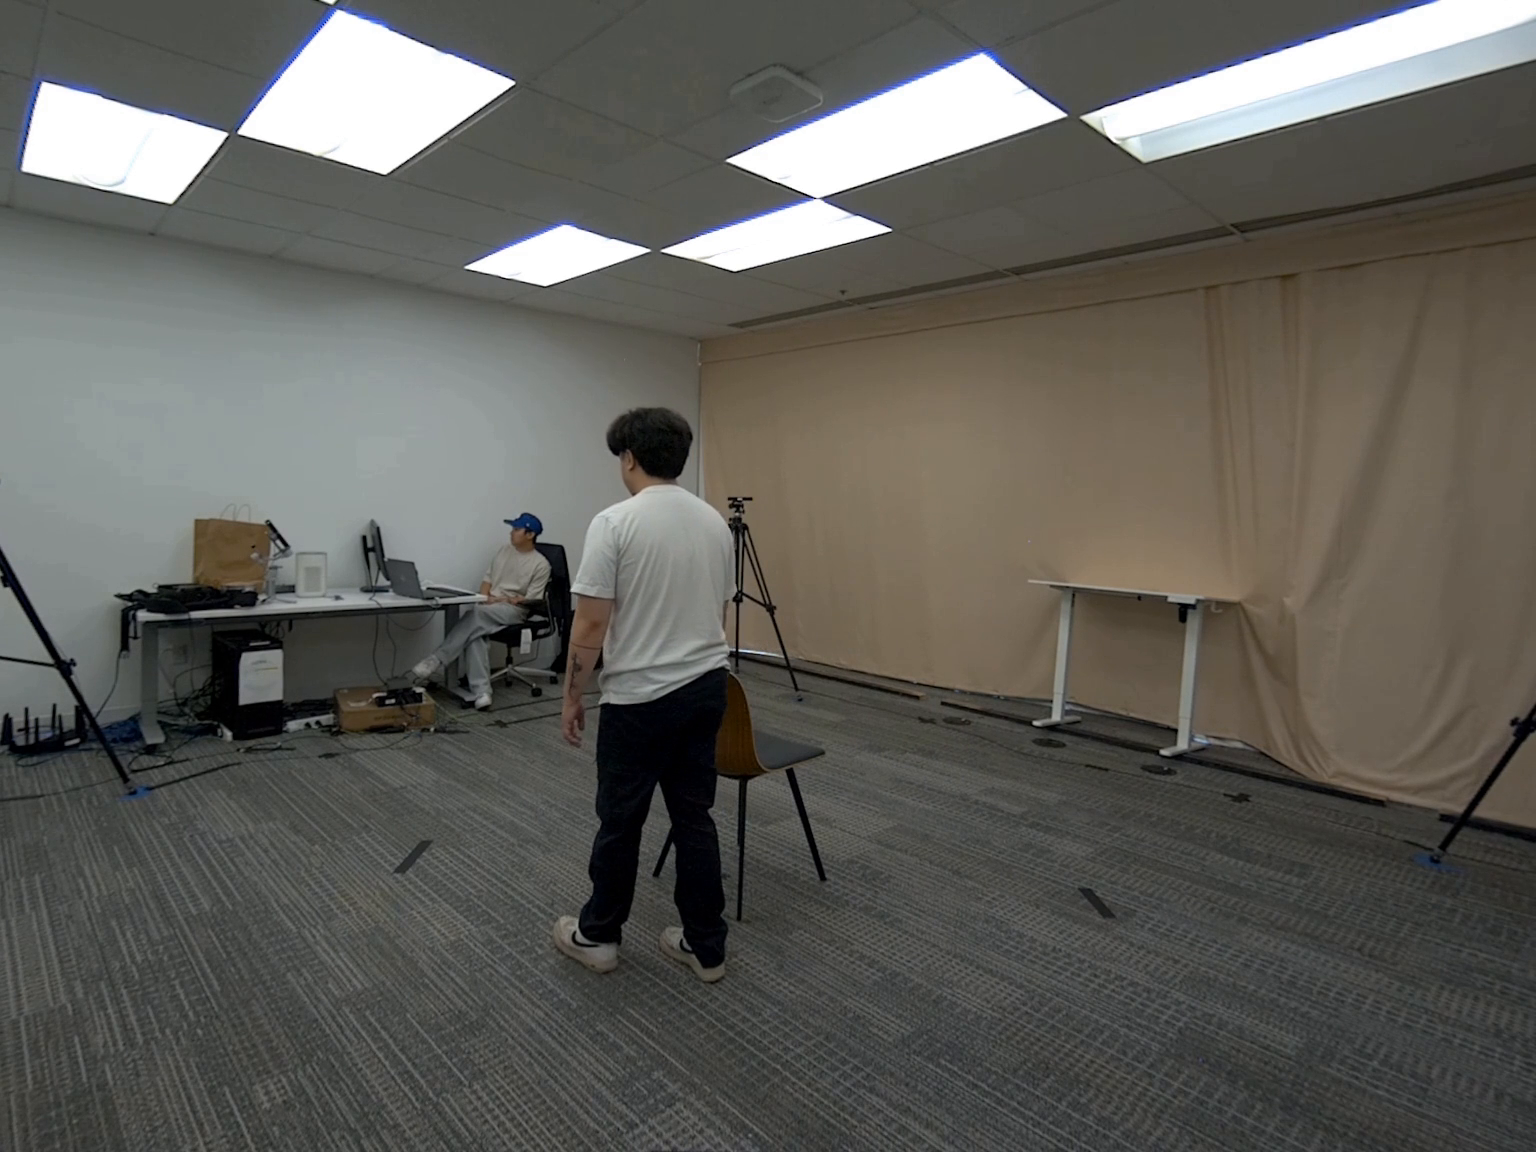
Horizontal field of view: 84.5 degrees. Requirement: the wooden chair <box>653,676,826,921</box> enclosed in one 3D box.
[{"bbox_3d":[-0.093,0.685,3.062,0.490,0.873,0.512,4,9,44],"label":"wooden chair"}]
